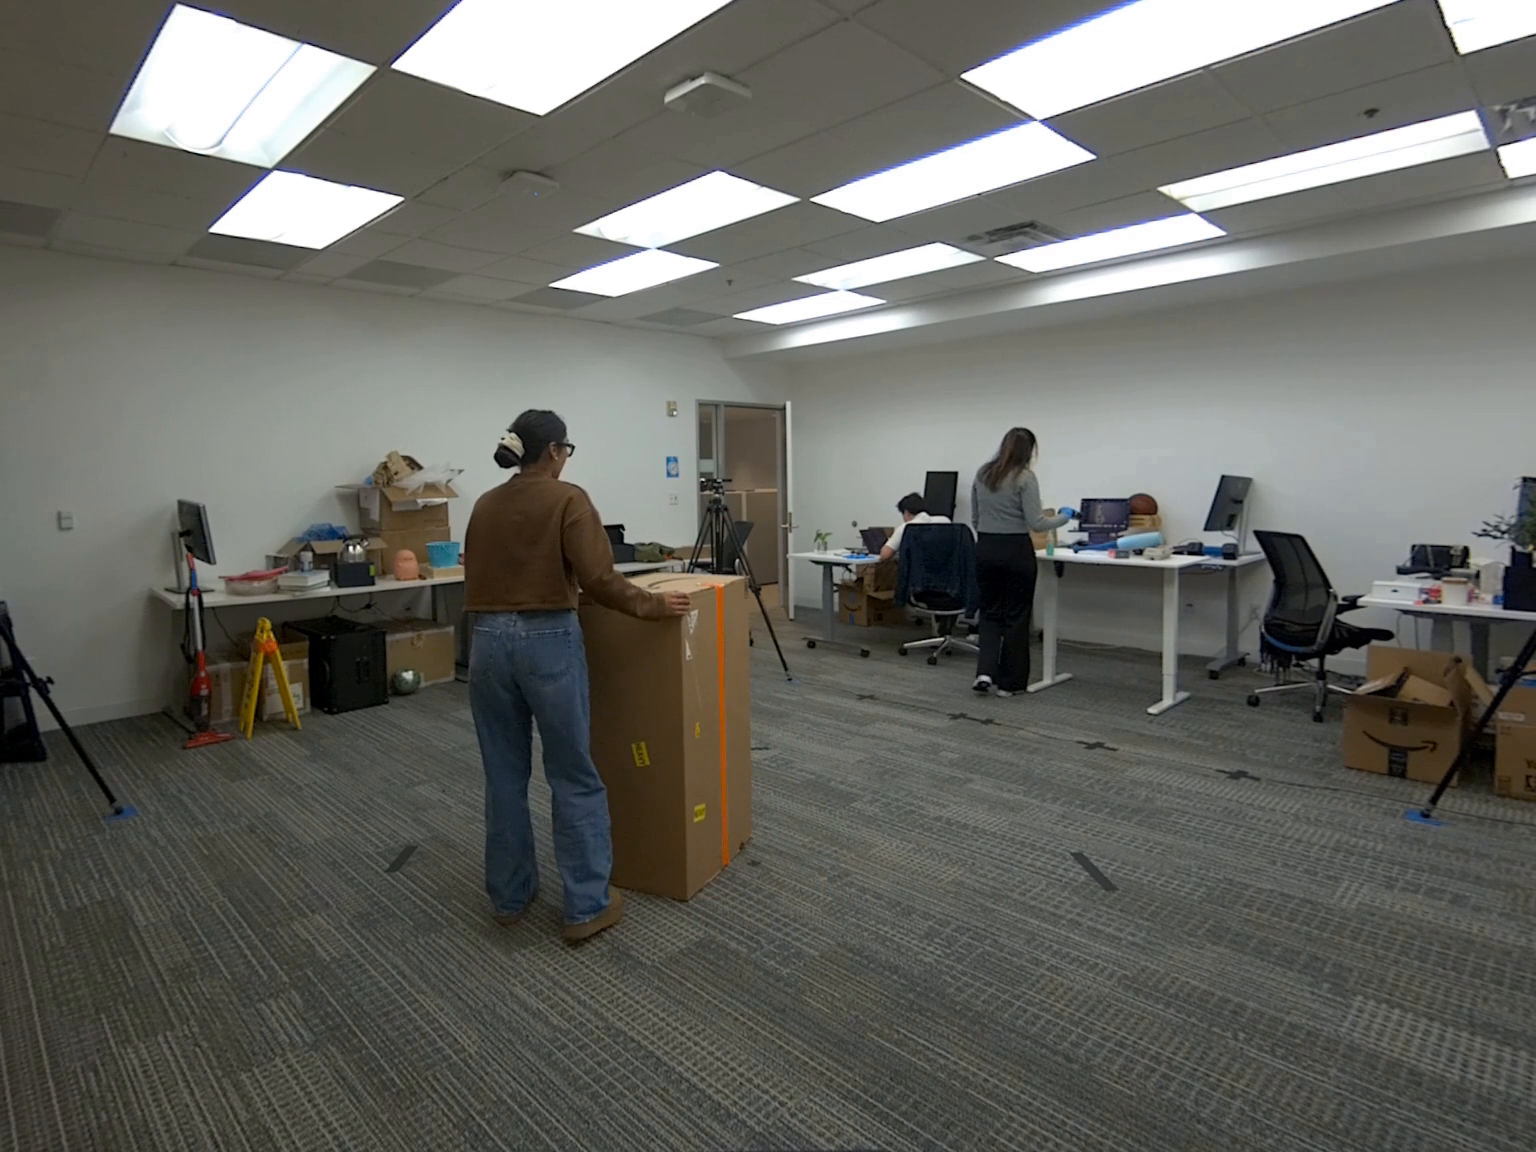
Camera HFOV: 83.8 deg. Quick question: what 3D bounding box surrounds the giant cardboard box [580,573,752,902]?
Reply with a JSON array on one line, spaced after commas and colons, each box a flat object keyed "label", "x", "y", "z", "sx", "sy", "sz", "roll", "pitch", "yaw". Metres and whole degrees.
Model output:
[{"label": "giant cardboard box", "x": -0.359, "y": 0.533, "z": 3.149, "sx": 0.436, "sy": 1.022, "sz": 0.567, "roll": 1, "pitch": 4, "yaw": 24}]
